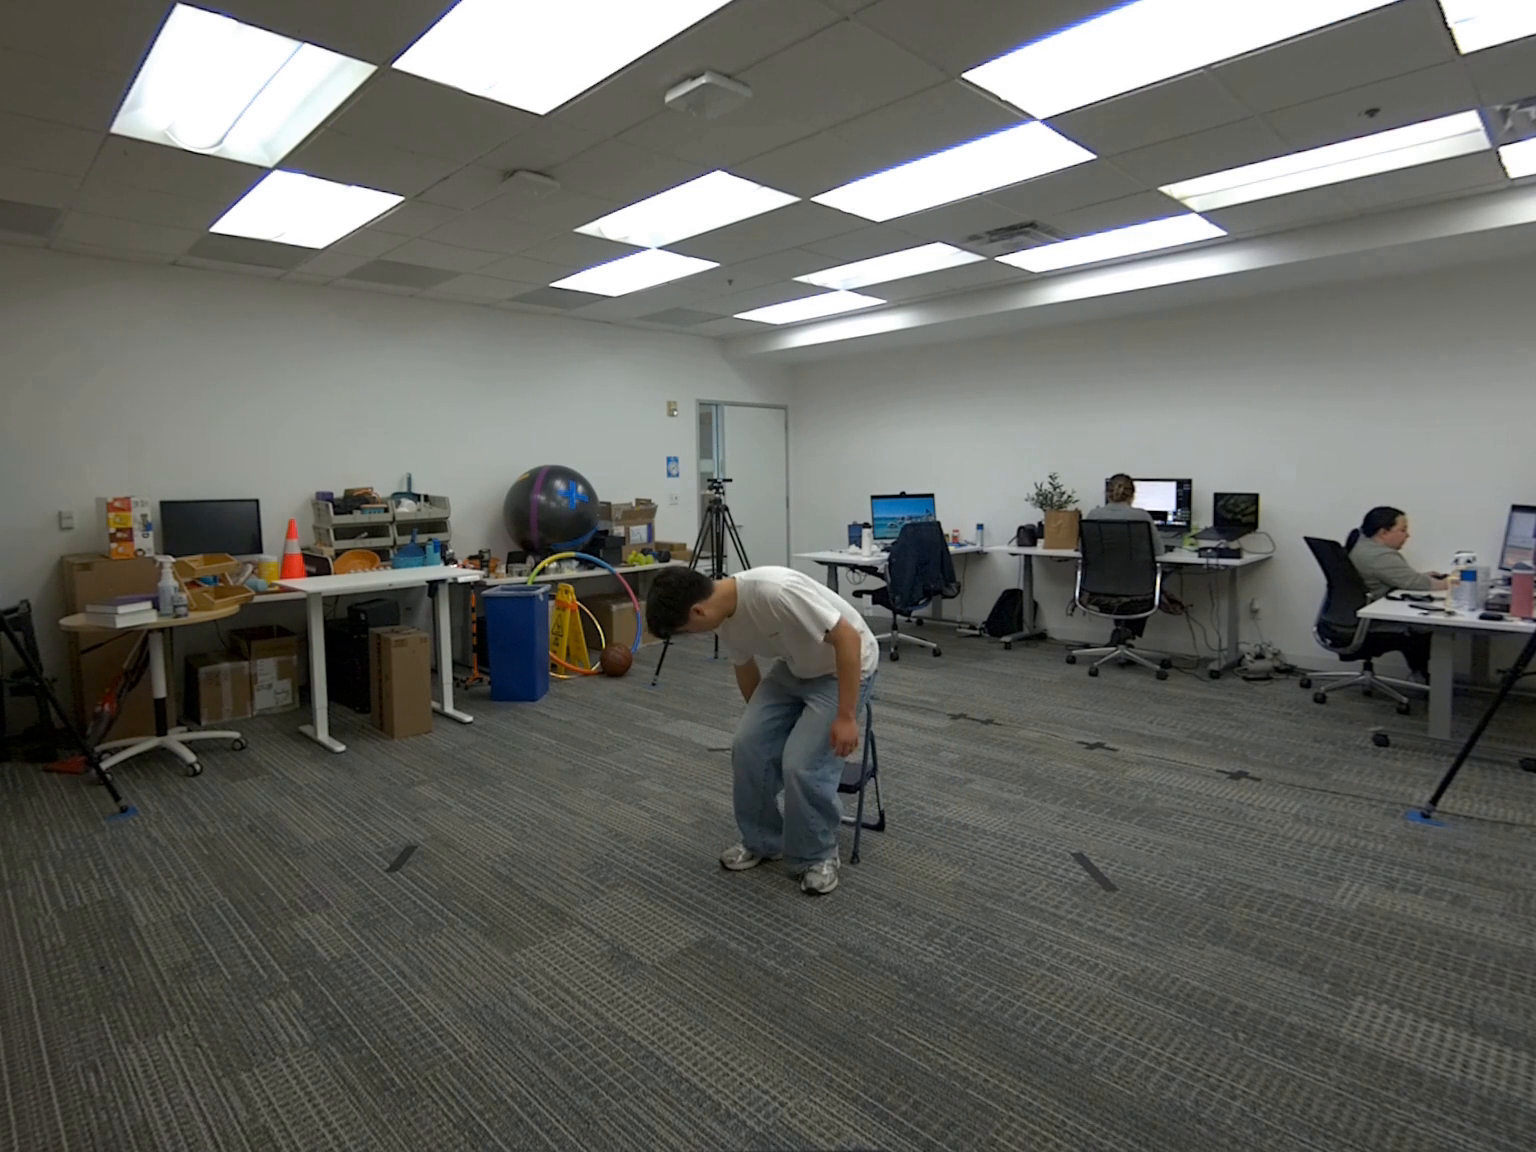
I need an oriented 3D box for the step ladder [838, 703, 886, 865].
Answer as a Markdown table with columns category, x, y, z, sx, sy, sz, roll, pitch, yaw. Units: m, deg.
| category | x | y | z | sx | sy | sz | roll | pitch | yaw |
| --- | --- | --- | --- | --- | --- | --- | --- | --- | --- |
| step ladder | 0.211 | 0.712 | 3.323 | 0.441 | 0.604 | 0.341 | 1 | 4 | 28 |
